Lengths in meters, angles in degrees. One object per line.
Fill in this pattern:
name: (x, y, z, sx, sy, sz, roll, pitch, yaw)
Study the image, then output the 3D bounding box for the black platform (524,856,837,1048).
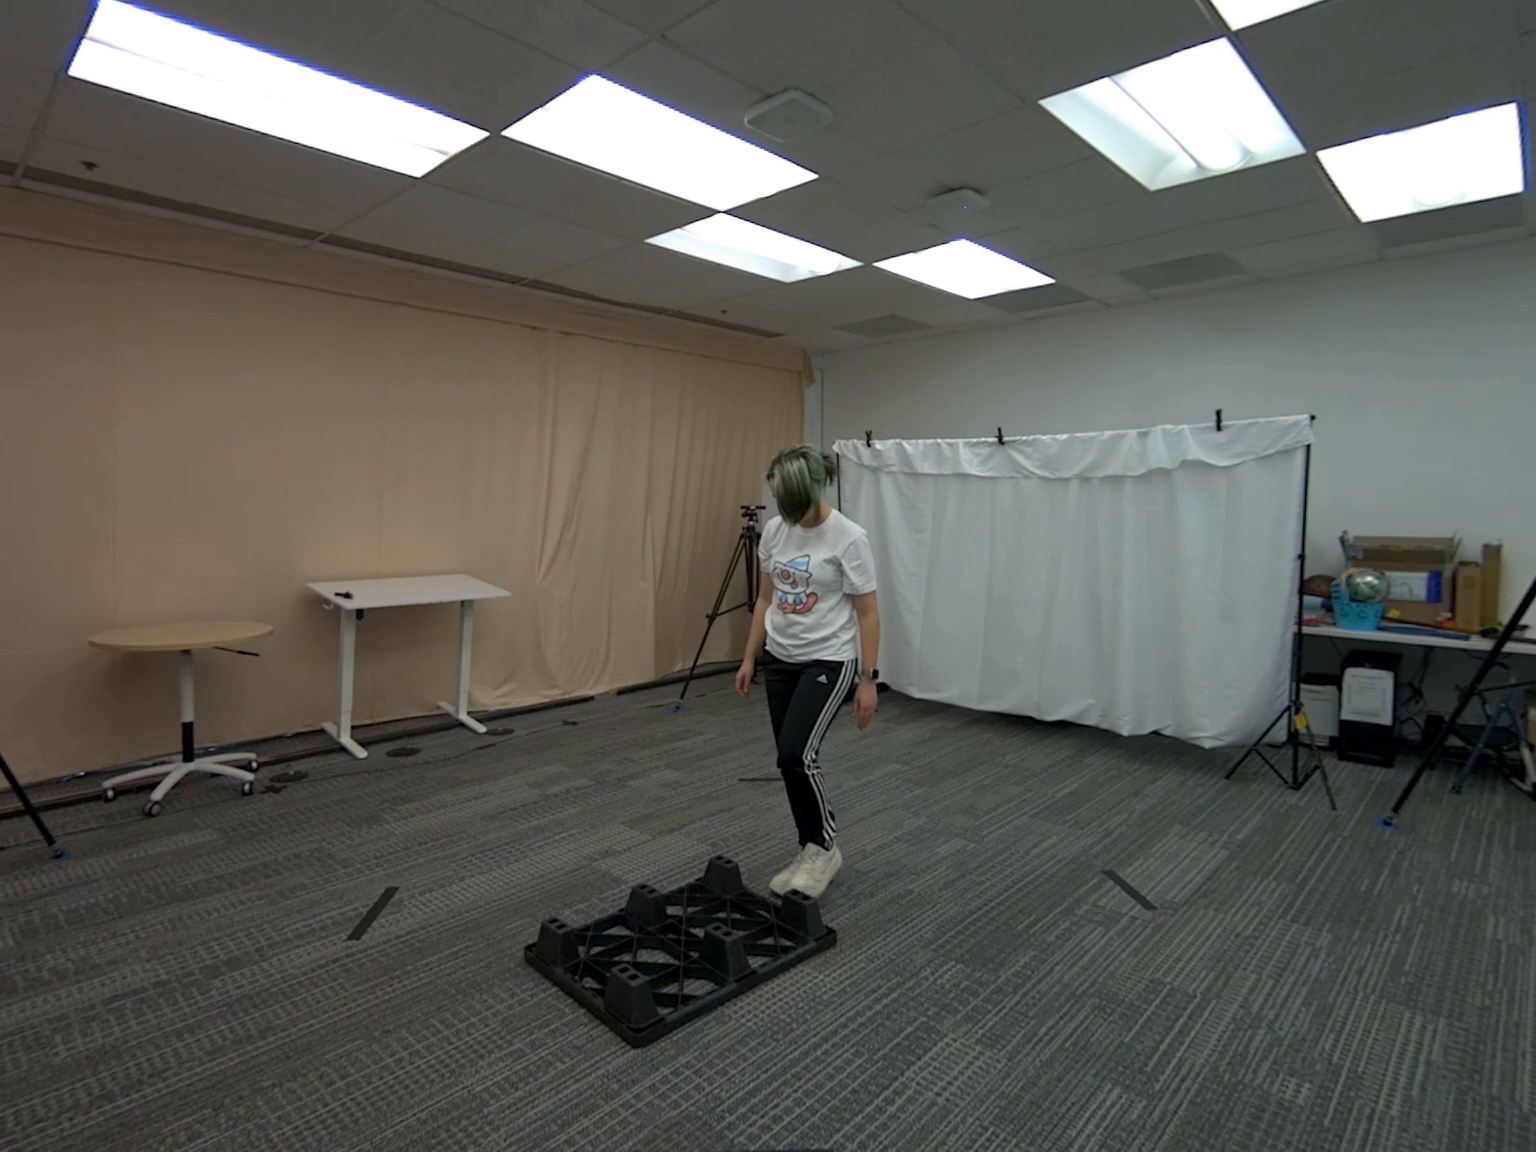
black platform: (-0.265, 1.109, 2.638, 0.781, 0.143, 0.625, -4, 7, -44)
